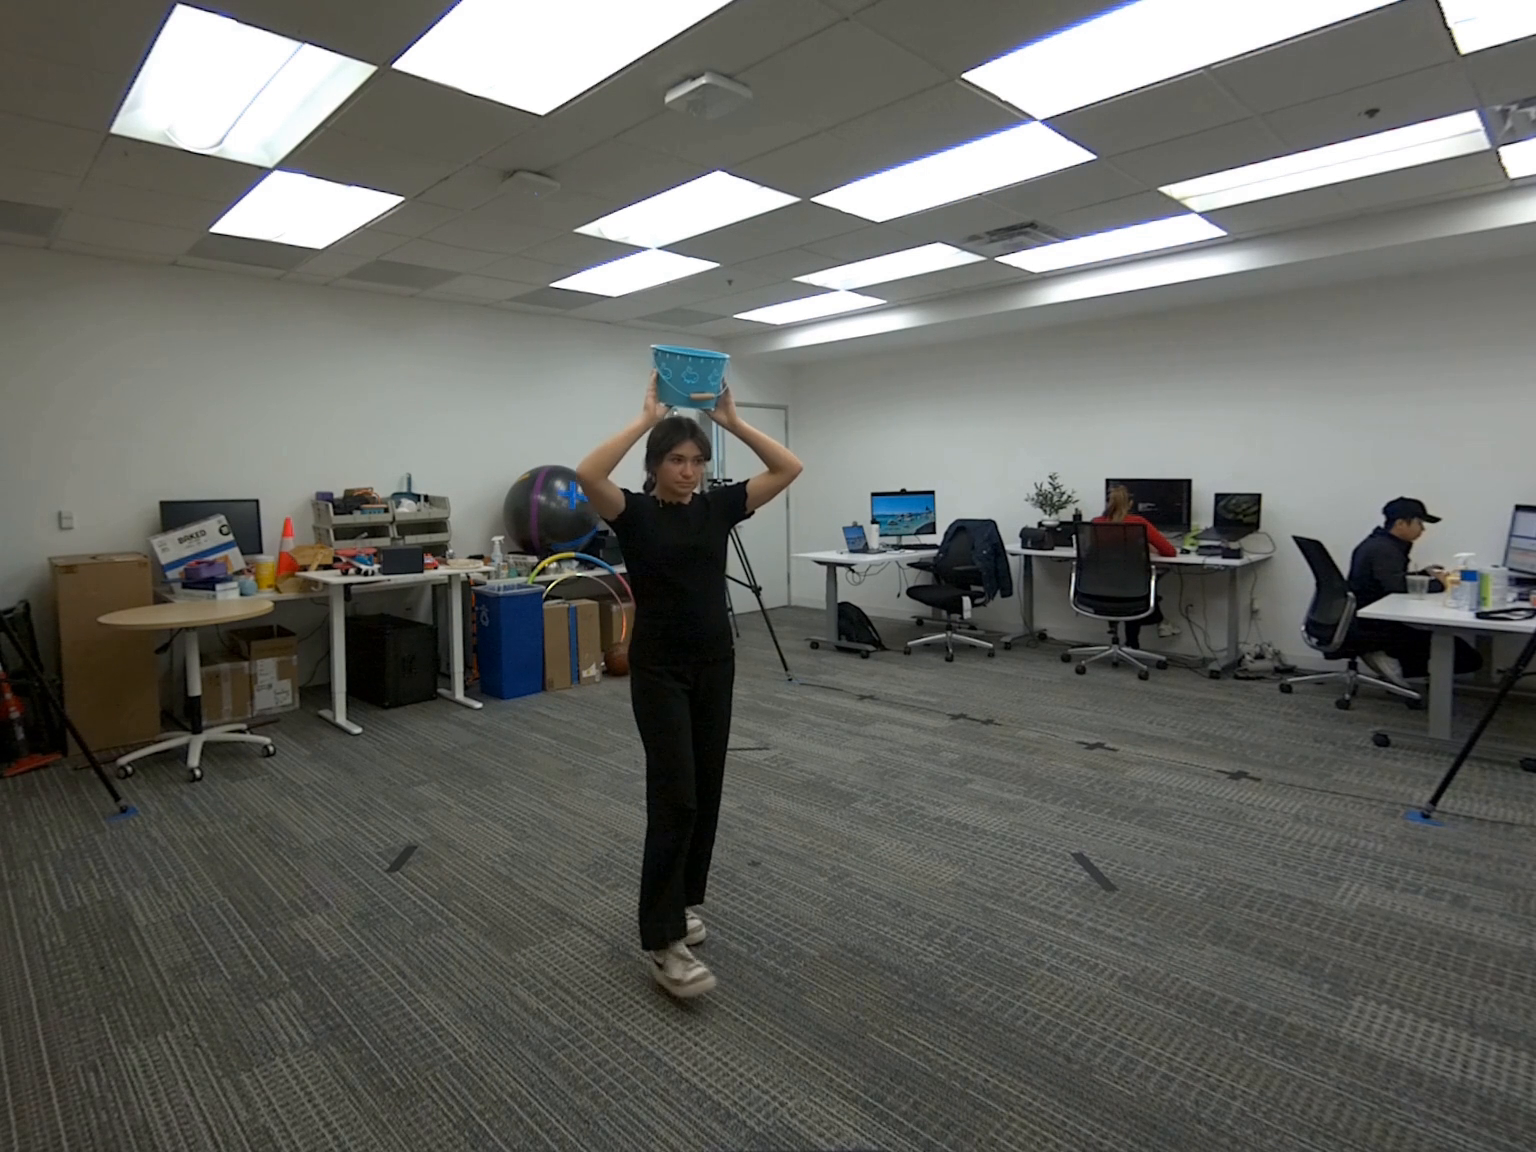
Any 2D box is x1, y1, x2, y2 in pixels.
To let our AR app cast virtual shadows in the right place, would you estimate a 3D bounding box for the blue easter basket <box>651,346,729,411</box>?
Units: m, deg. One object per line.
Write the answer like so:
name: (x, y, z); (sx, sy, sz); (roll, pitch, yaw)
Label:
blue easter basket: (-0.242, -0.576, 2.458); (0.243, 0.154, 0.247); (6, 17, -4)
